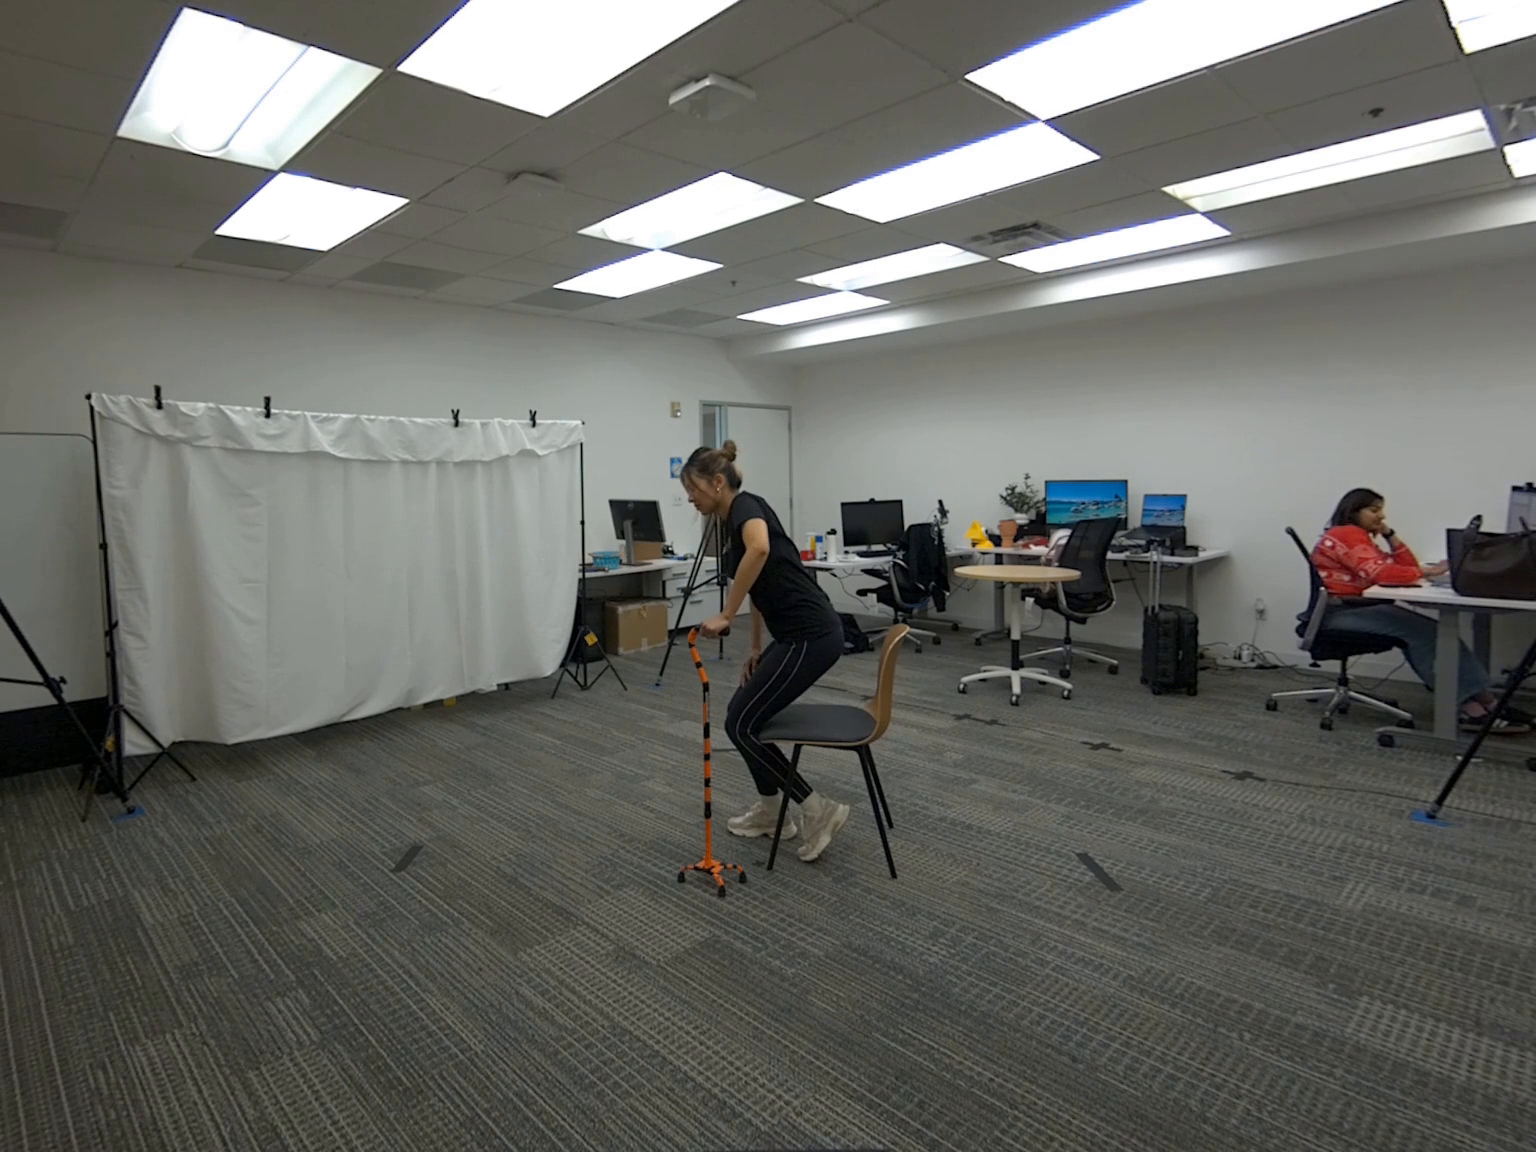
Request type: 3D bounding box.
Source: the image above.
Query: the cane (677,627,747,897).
[{"bbox_3d":[-0.201,0.618,2.942,0.212,0.904,0.148,2,5,37],"label":"cane"}]
